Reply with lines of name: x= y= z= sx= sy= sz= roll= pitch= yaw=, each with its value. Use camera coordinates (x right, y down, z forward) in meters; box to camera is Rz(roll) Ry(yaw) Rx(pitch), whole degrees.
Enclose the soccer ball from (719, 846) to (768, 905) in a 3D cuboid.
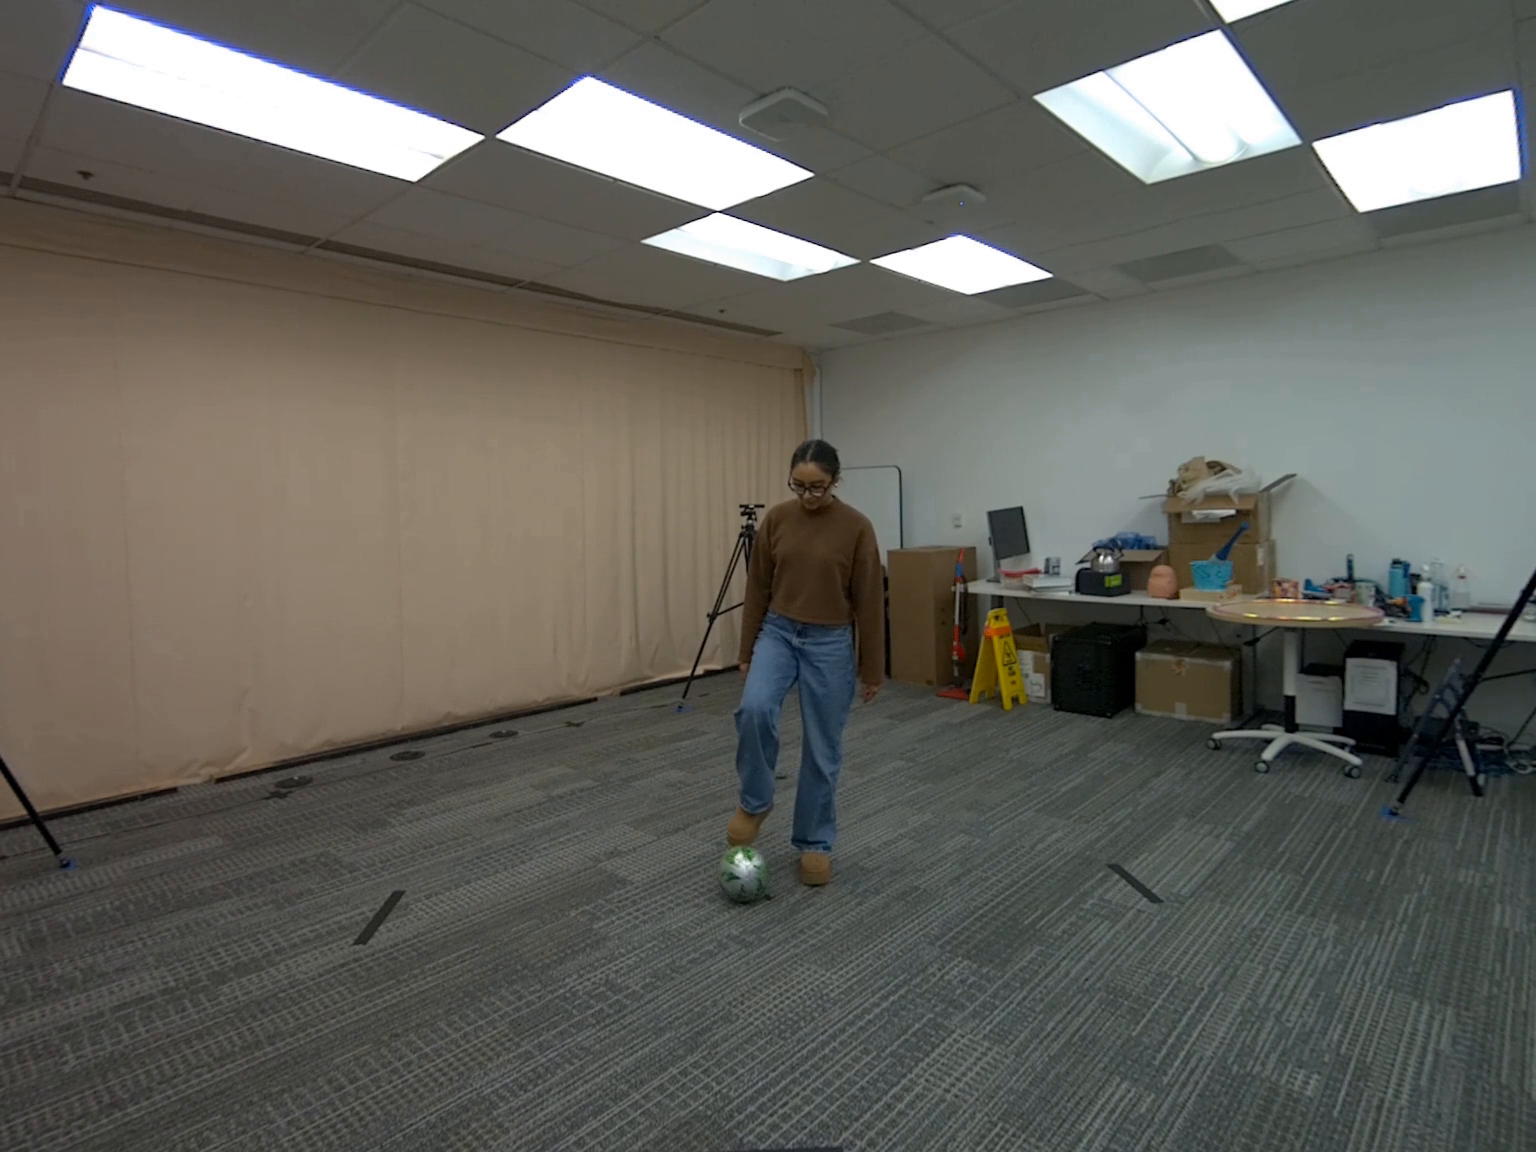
soccer ball: x=-0.082 y=1.054 z=2.960 sx=0.187 sy=0.187 sz=0.188 roll=-1 pitch=4 yaw=-2
